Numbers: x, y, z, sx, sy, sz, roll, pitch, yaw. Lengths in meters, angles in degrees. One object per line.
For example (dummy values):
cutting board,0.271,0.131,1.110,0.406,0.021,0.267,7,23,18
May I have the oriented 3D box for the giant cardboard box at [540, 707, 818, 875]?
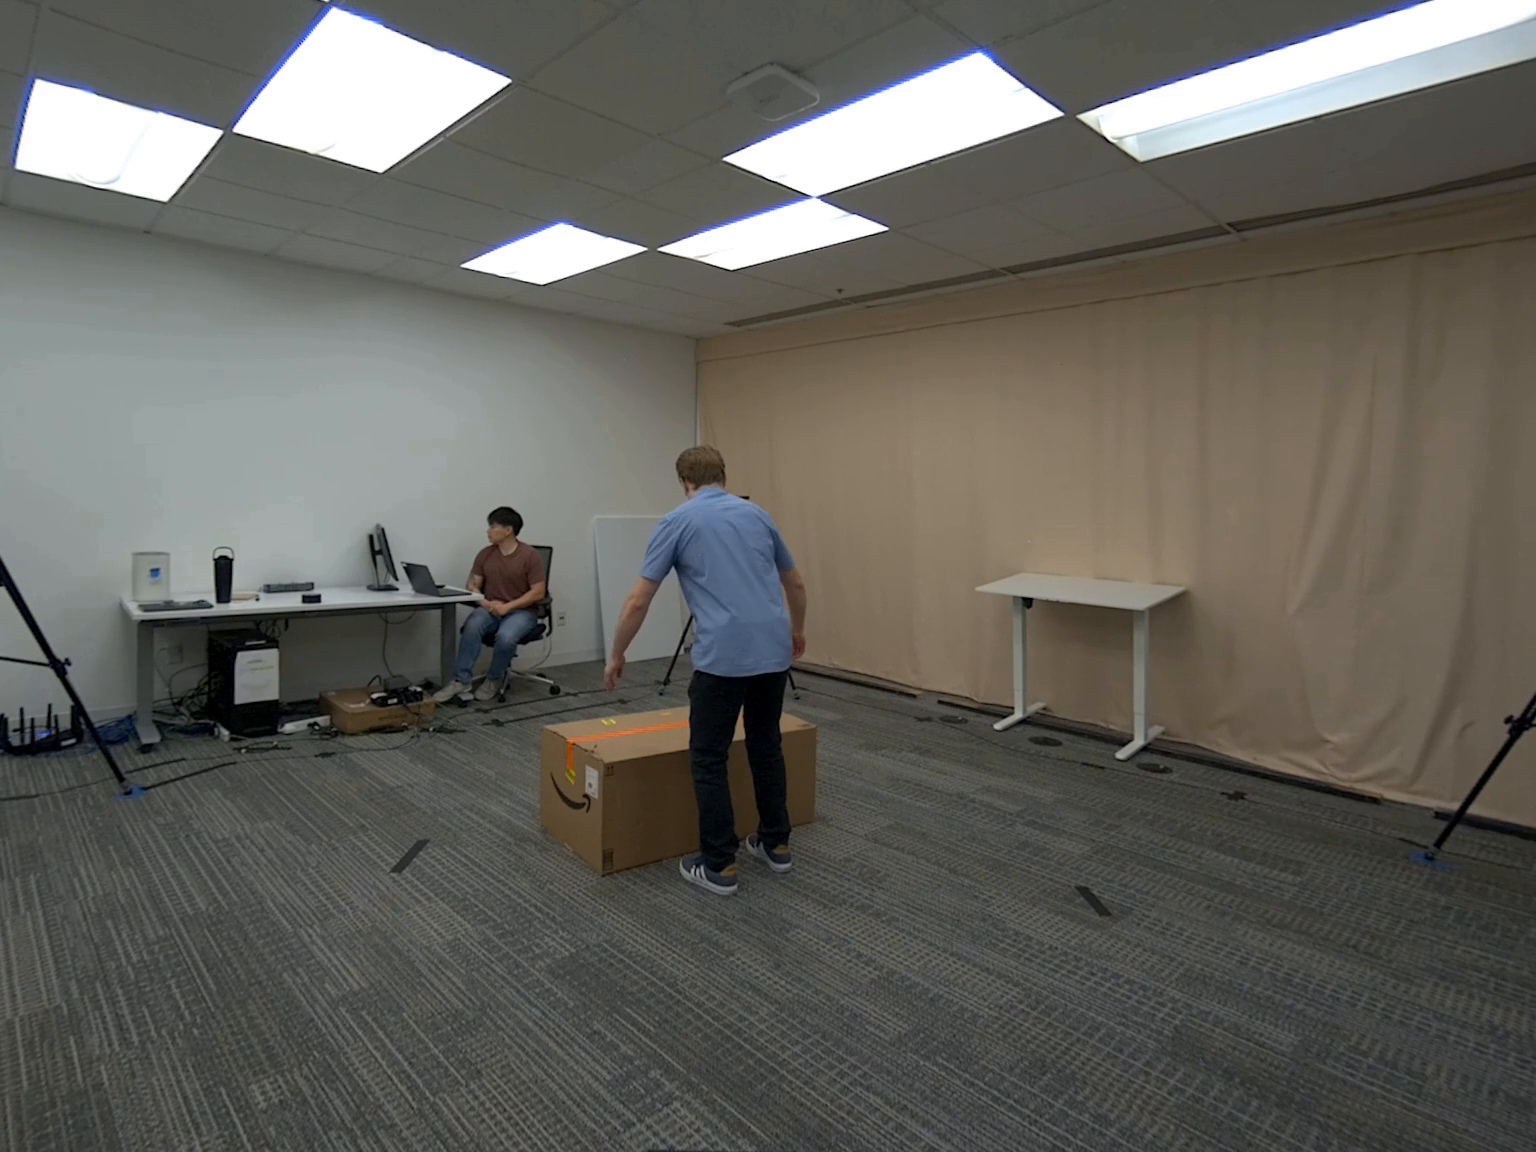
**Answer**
giant cardboard box,-0.378,0.843,3.575,1.004,0.445,0.599,-1,6,-36
